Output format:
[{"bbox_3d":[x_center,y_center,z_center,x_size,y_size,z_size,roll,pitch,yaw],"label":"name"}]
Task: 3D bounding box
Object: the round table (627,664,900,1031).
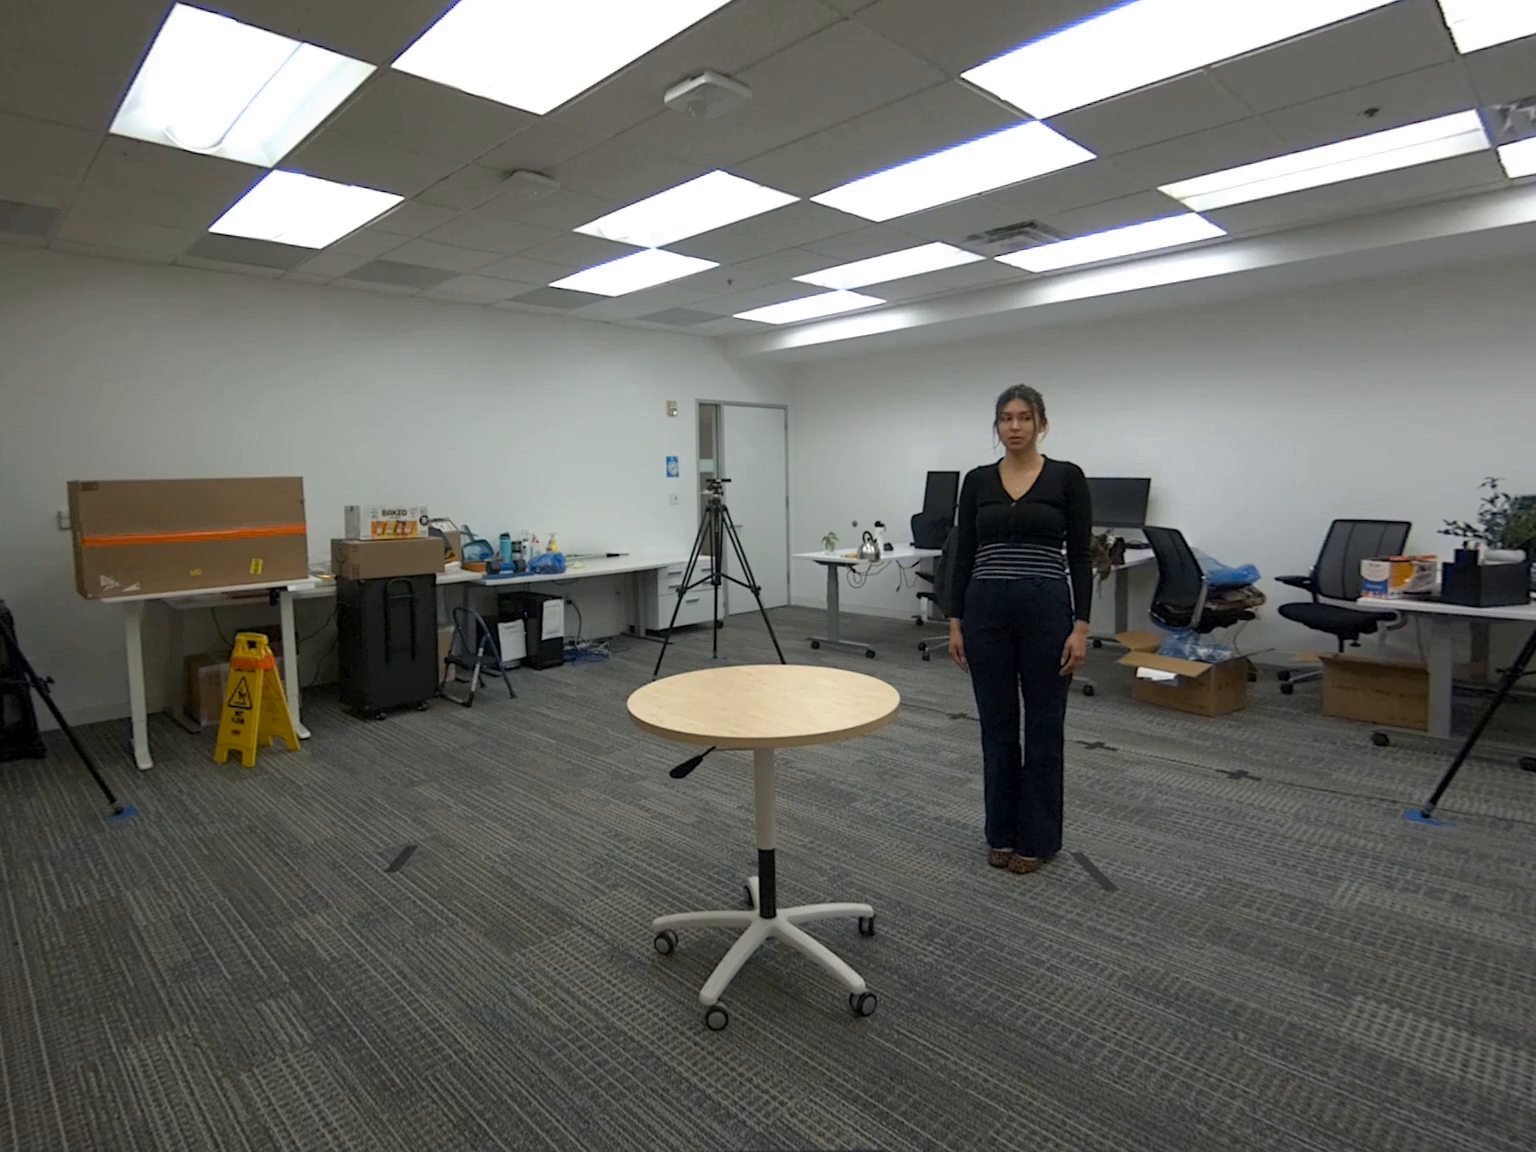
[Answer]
[{"bbox_3d":[0.003,0.732,2.449,0.763,0.790,0.768,-2,5,-1],"label":"round table"}]
